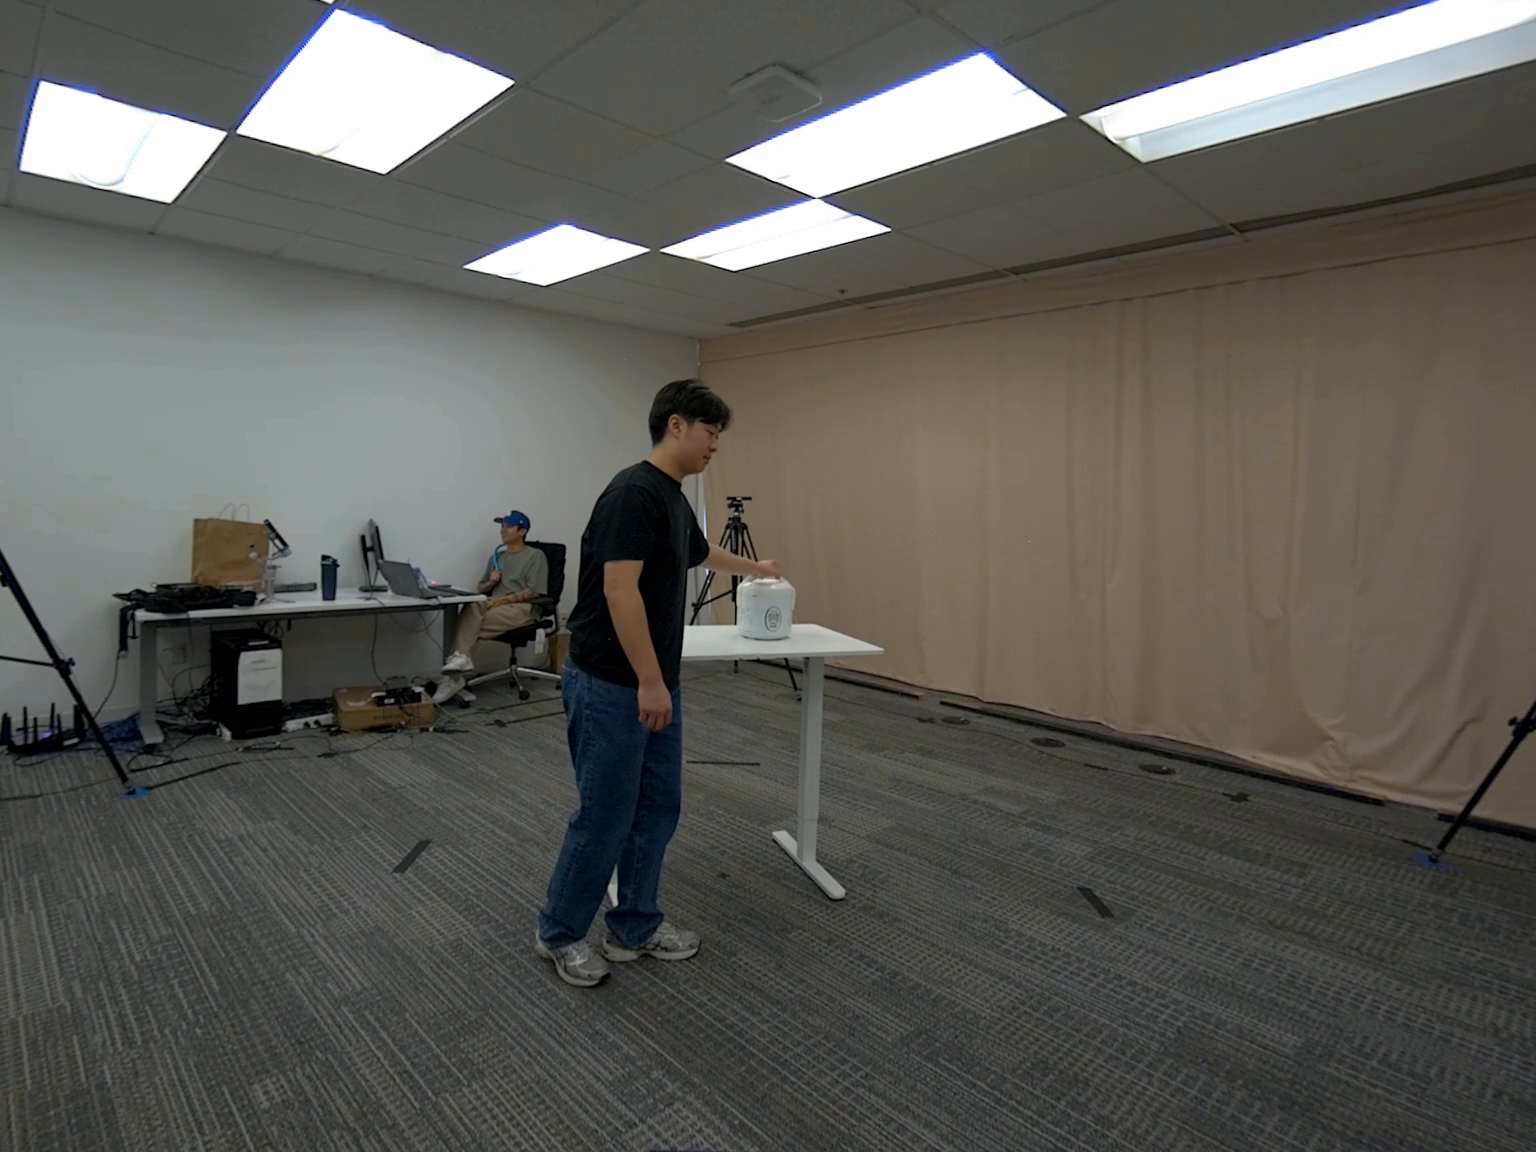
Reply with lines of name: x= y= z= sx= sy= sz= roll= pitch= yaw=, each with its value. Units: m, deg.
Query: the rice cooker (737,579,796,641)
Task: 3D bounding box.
rice cooker: x=-0.014 y=0.110 z=3.117 sx=0.218 sy=0.232 sz=0.221 roll=0 pitch=4 yaw=-16
